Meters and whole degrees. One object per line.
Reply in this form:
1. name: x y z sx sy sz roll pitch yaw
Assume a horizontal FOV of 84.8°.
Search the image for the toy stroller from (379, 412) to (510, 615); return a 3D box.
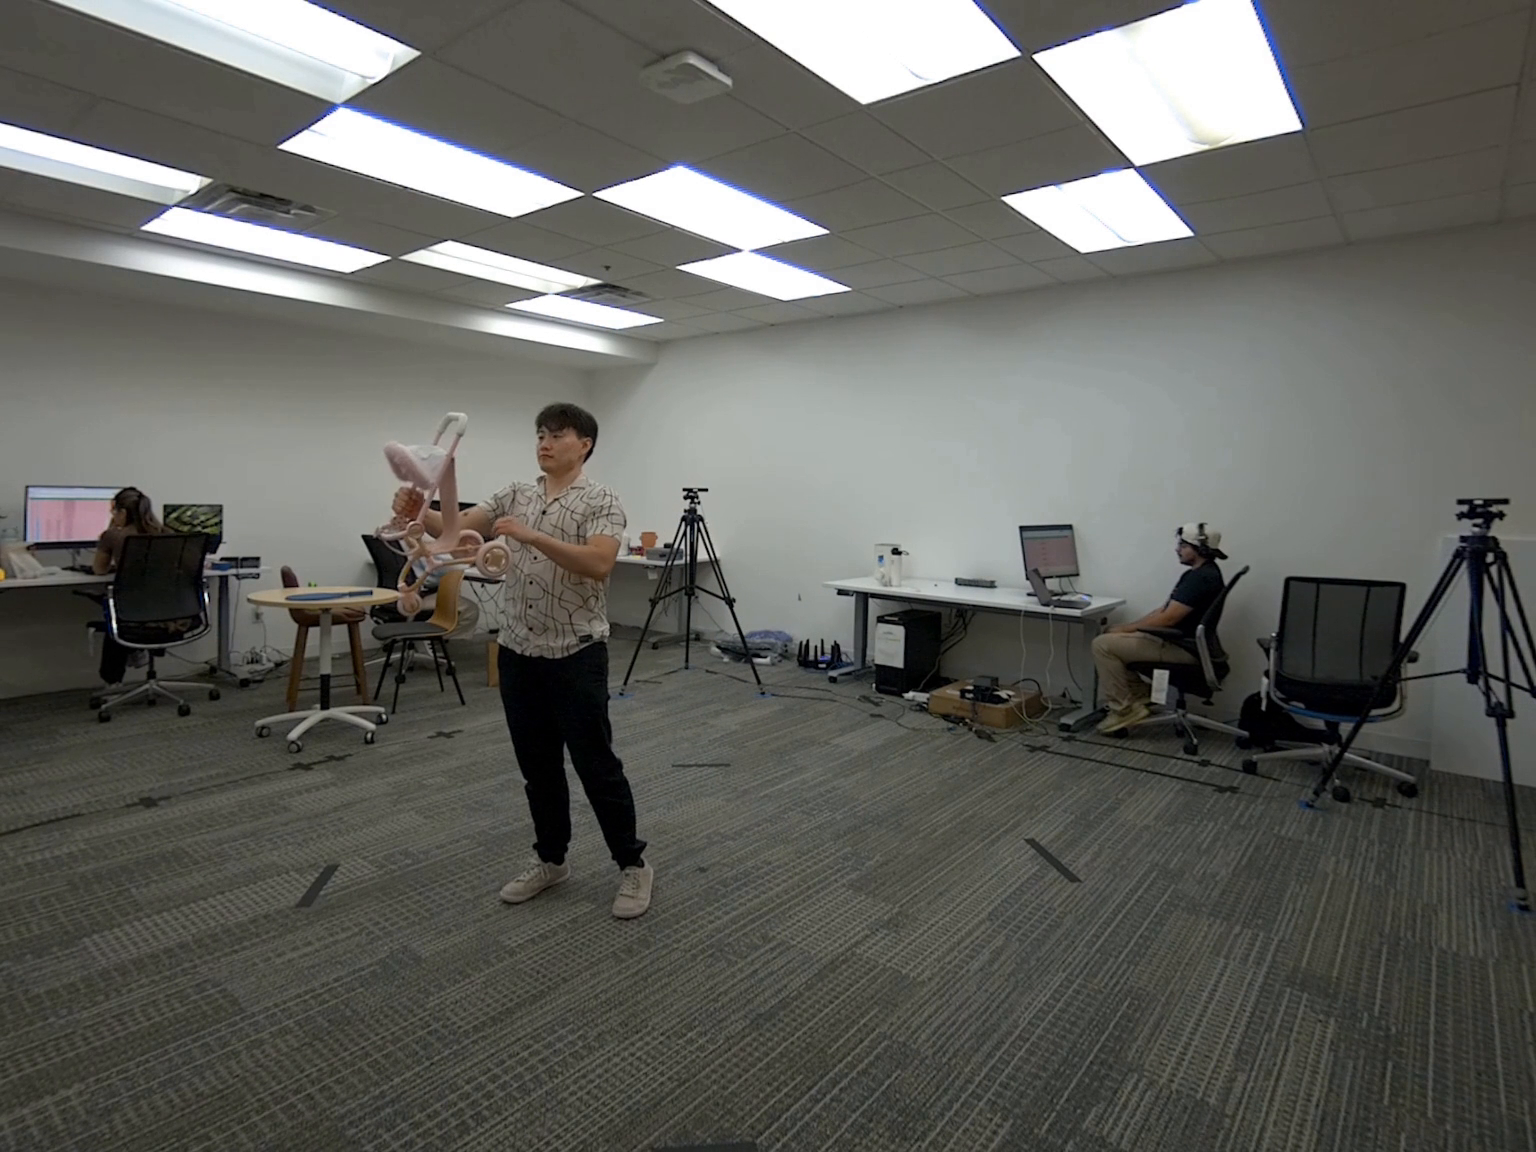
1. toy stroller: -1.000 -0.177 2.494 0.336 0.524 0.292 -22 23 -29
